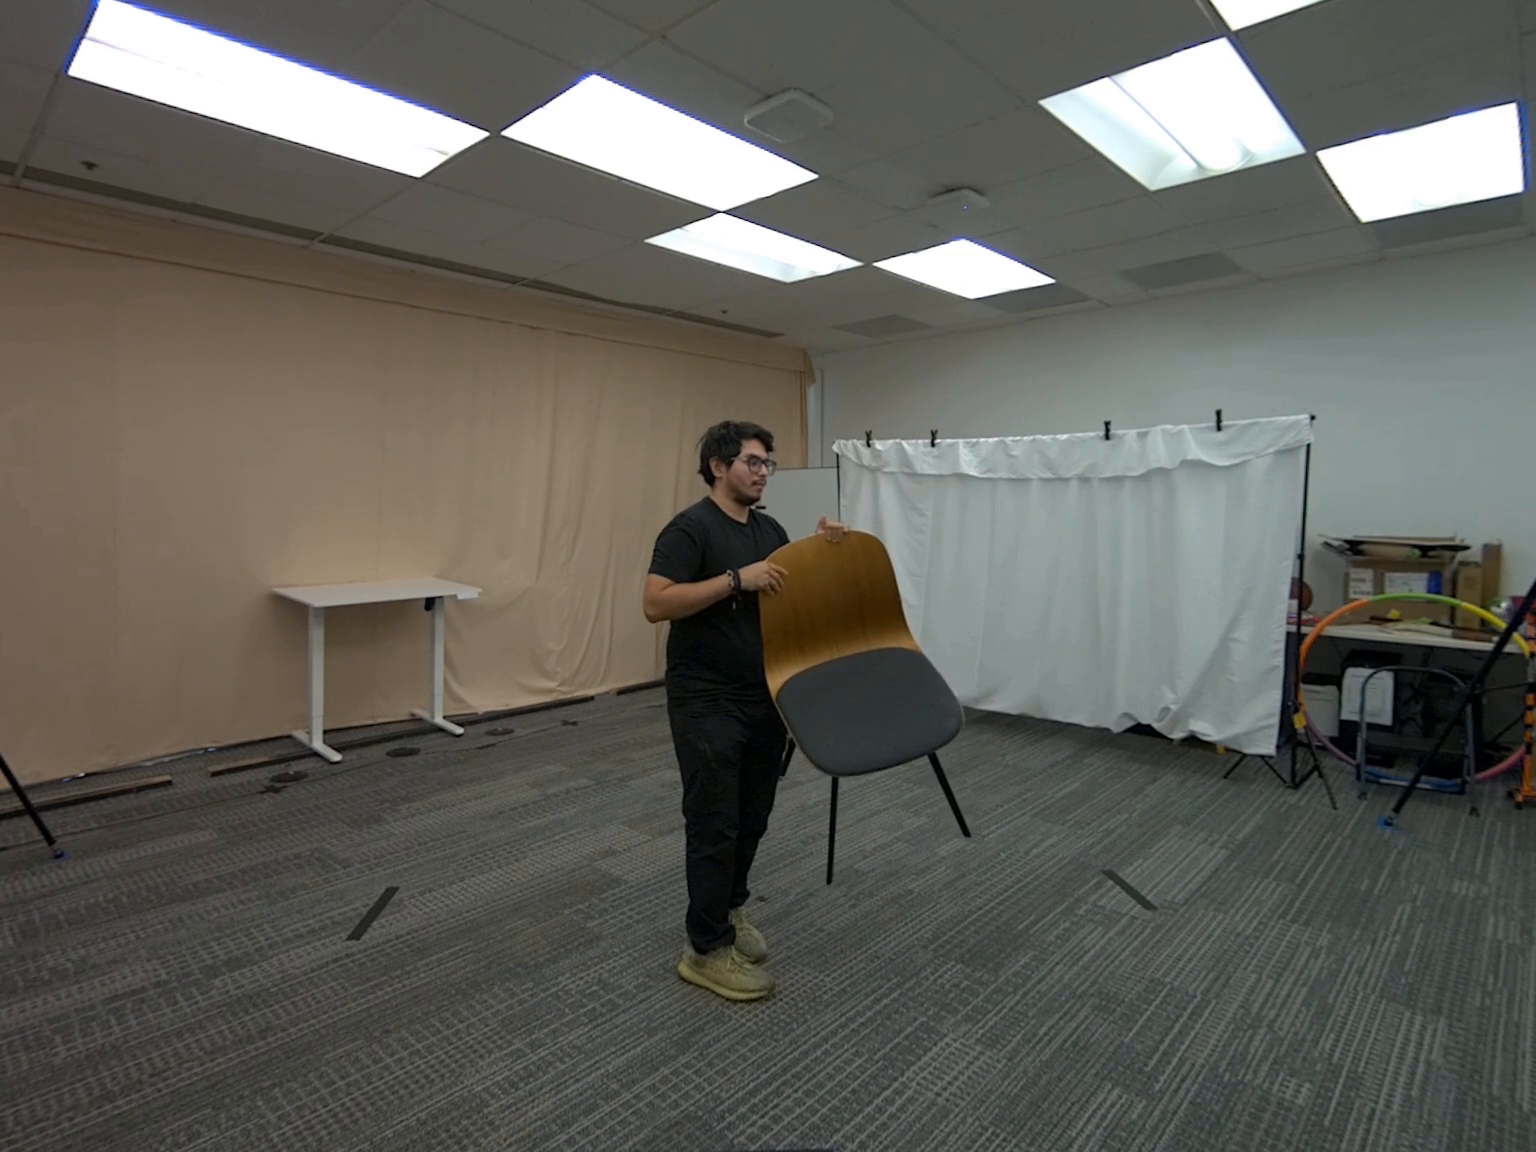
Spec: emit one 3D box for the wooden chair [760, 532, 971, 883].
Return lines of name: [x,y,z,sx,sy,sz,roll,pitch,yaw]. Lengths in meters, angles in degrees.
wooden chair: [0.277,0.377,2.405,0.473,0.860,0.538,-14,29,-11]
